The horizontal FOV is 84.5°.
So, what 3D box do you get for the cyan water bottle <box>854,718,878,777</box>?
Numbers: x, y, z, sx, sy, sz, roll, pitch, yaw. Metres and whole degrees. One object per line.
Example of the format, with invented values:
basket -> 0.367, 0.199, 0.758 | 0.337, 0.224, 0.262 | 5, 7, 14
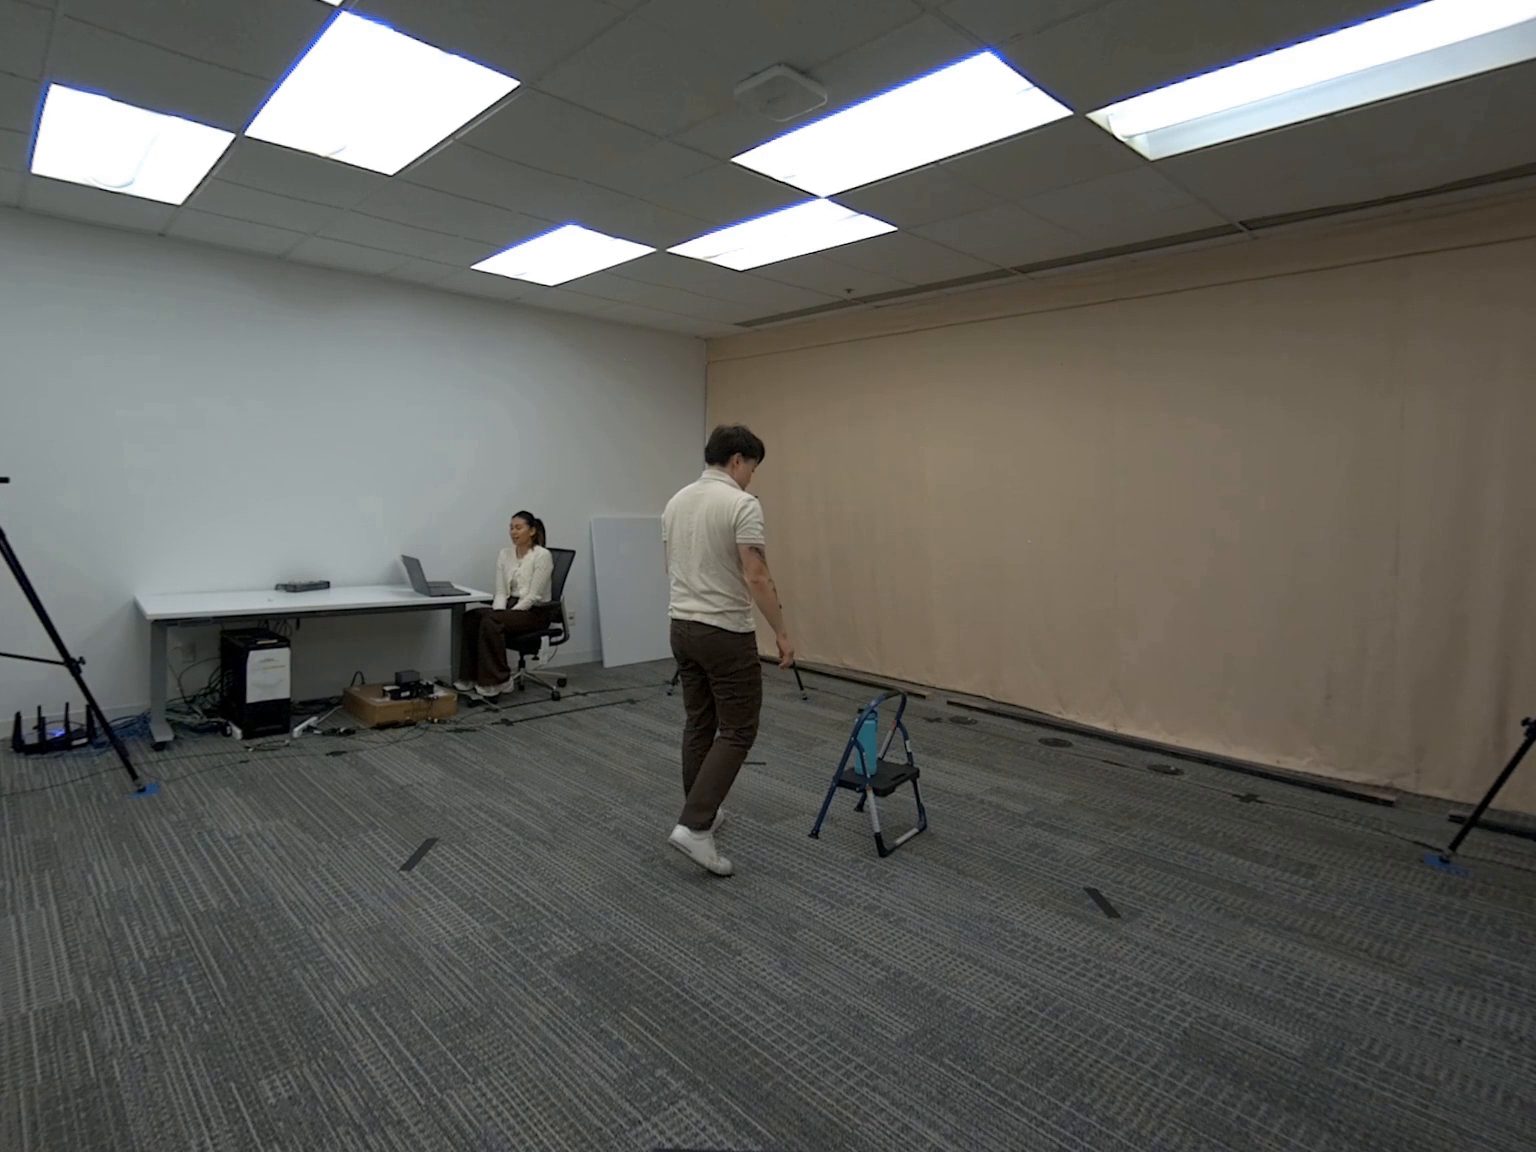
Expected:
cyan water bottle -> 0.400, 0.676, 3.504 | 0.092, 0.282, 0.093 | 2, 4, -2
